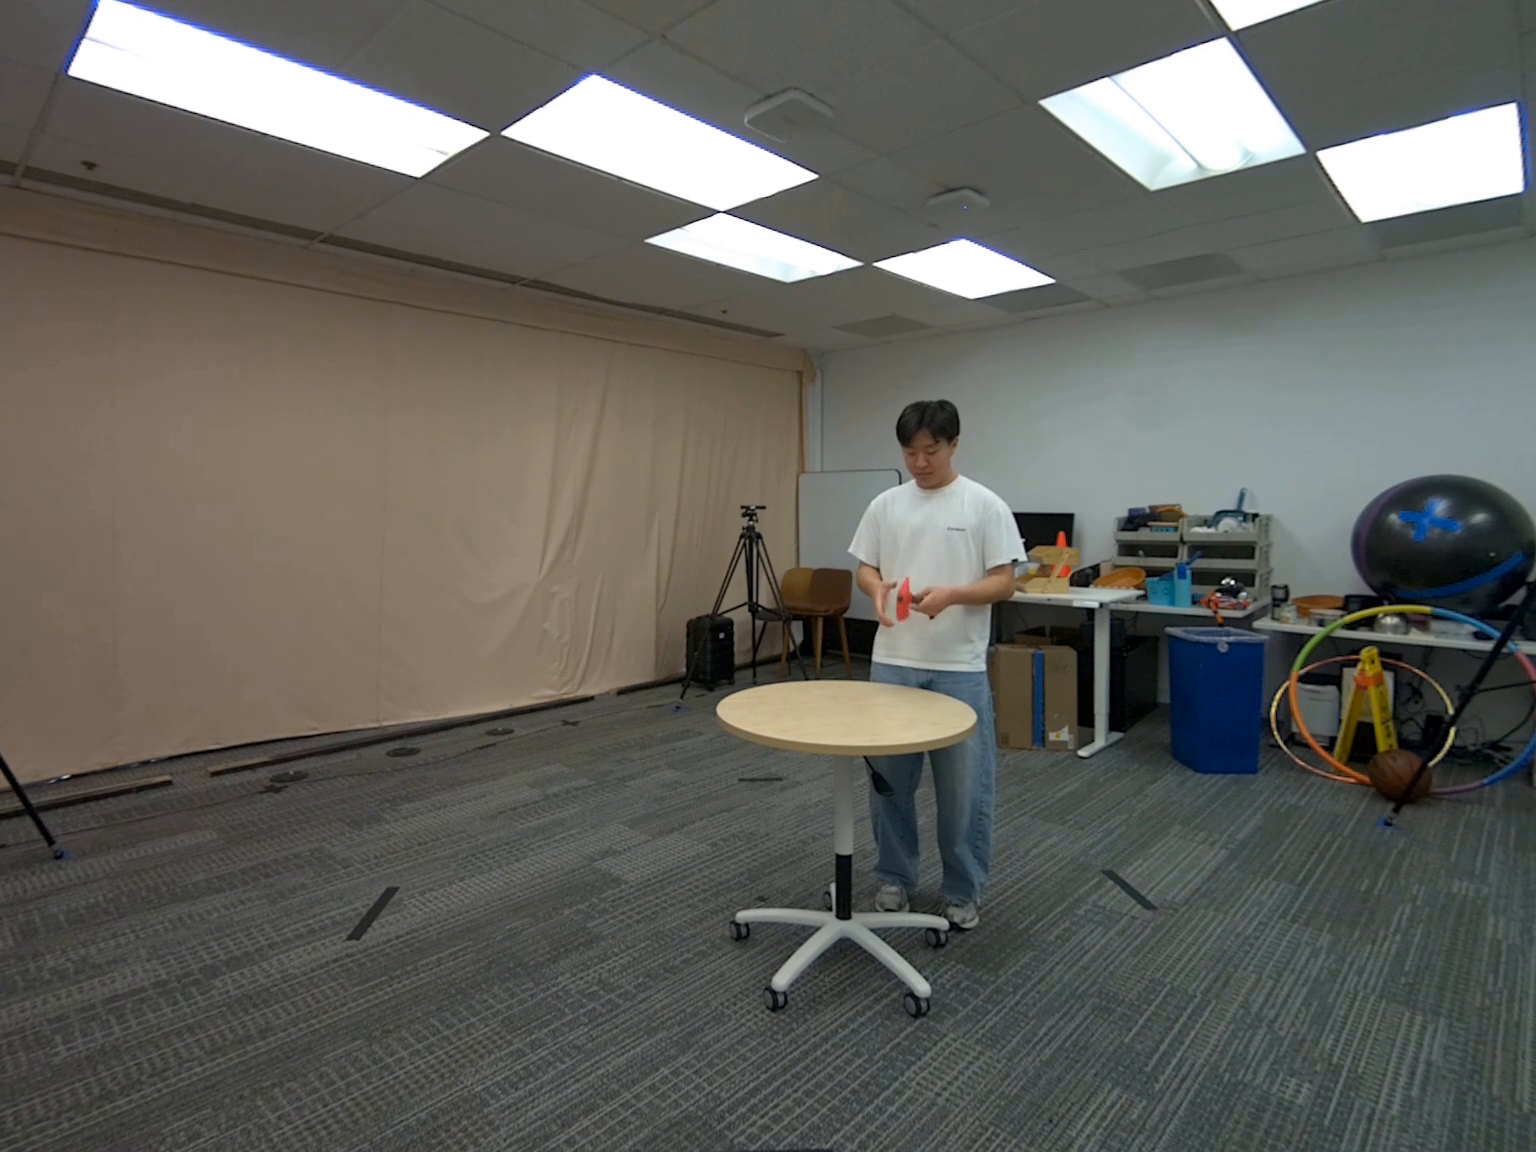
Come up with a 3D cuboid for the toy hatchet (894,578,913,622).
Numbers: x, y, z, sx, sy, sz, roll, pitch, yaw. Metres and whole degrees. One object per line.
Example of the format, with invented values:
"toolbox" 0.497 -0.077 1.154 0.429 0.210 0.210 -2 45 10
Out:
"toy hatchet" 0.451 0.113 2.619 0.030 0.131 0.260 11 -17 39
